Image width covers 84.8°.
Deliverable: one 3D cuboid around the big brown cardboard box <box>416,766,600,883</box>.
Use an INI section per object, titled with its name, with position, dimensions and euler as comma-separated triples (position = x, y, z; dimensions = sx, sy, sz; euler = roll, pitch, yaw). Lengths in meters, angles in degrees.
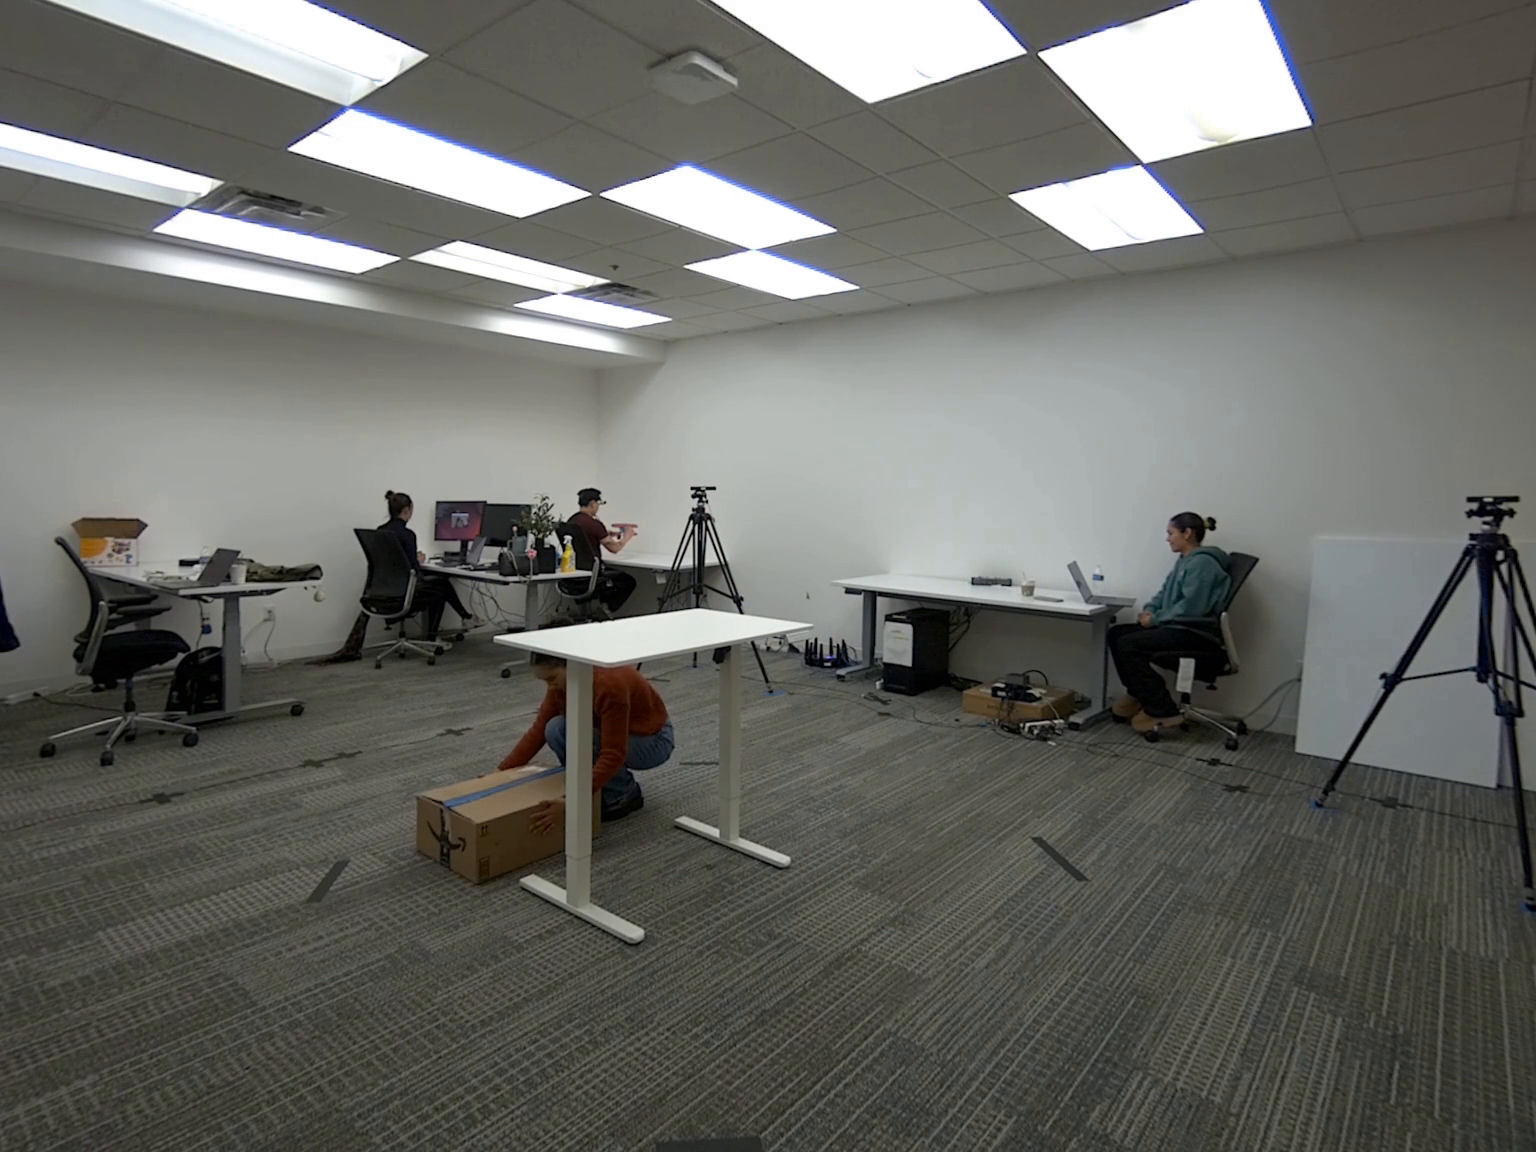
[big brown cardboard box]
position = -1.014, 0.918, 3.283
dimensions = 0.431, 0.232, 0.572
euler = 4, 7, 39
